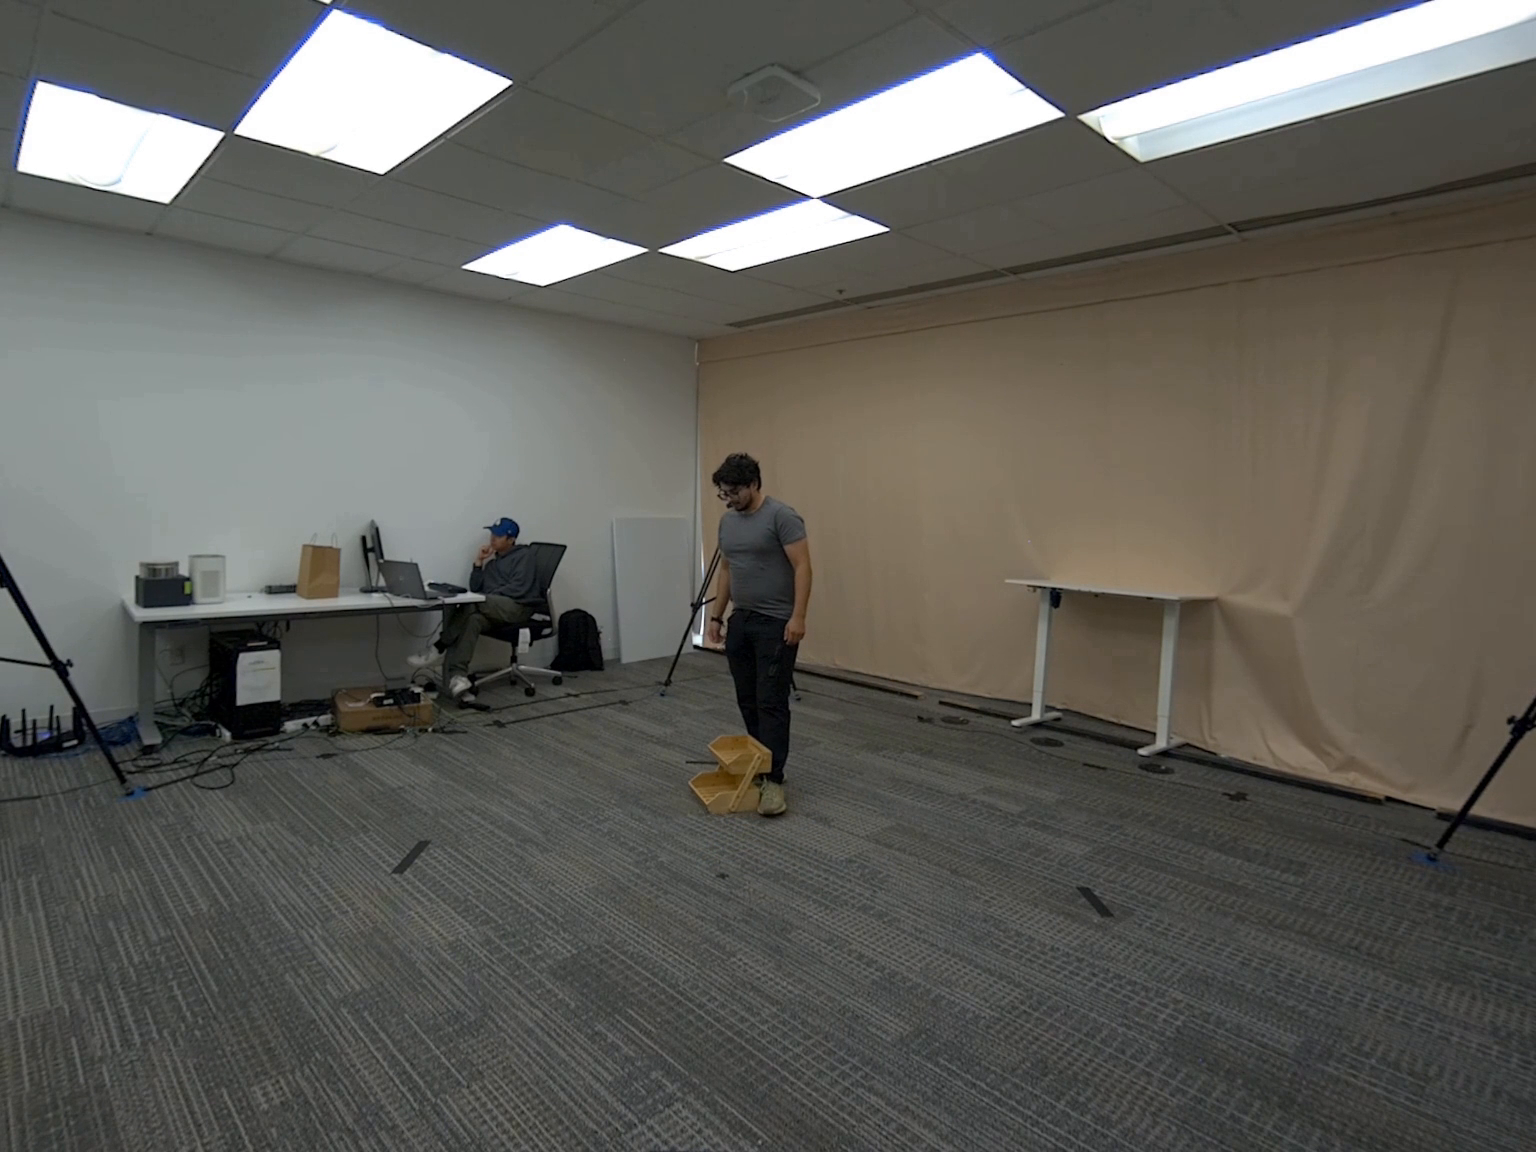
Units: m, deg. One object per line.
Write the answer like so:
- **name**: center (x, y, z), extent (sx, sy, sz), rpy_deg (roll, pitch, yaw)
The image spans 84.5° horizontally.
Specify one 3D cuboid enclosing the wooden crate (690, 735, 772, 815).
- **wooden crate**: center (-0.190, 0.904, 3.889), extent (0.297, 0.273, 0.330), rpy_deg (1, 4, -20)
